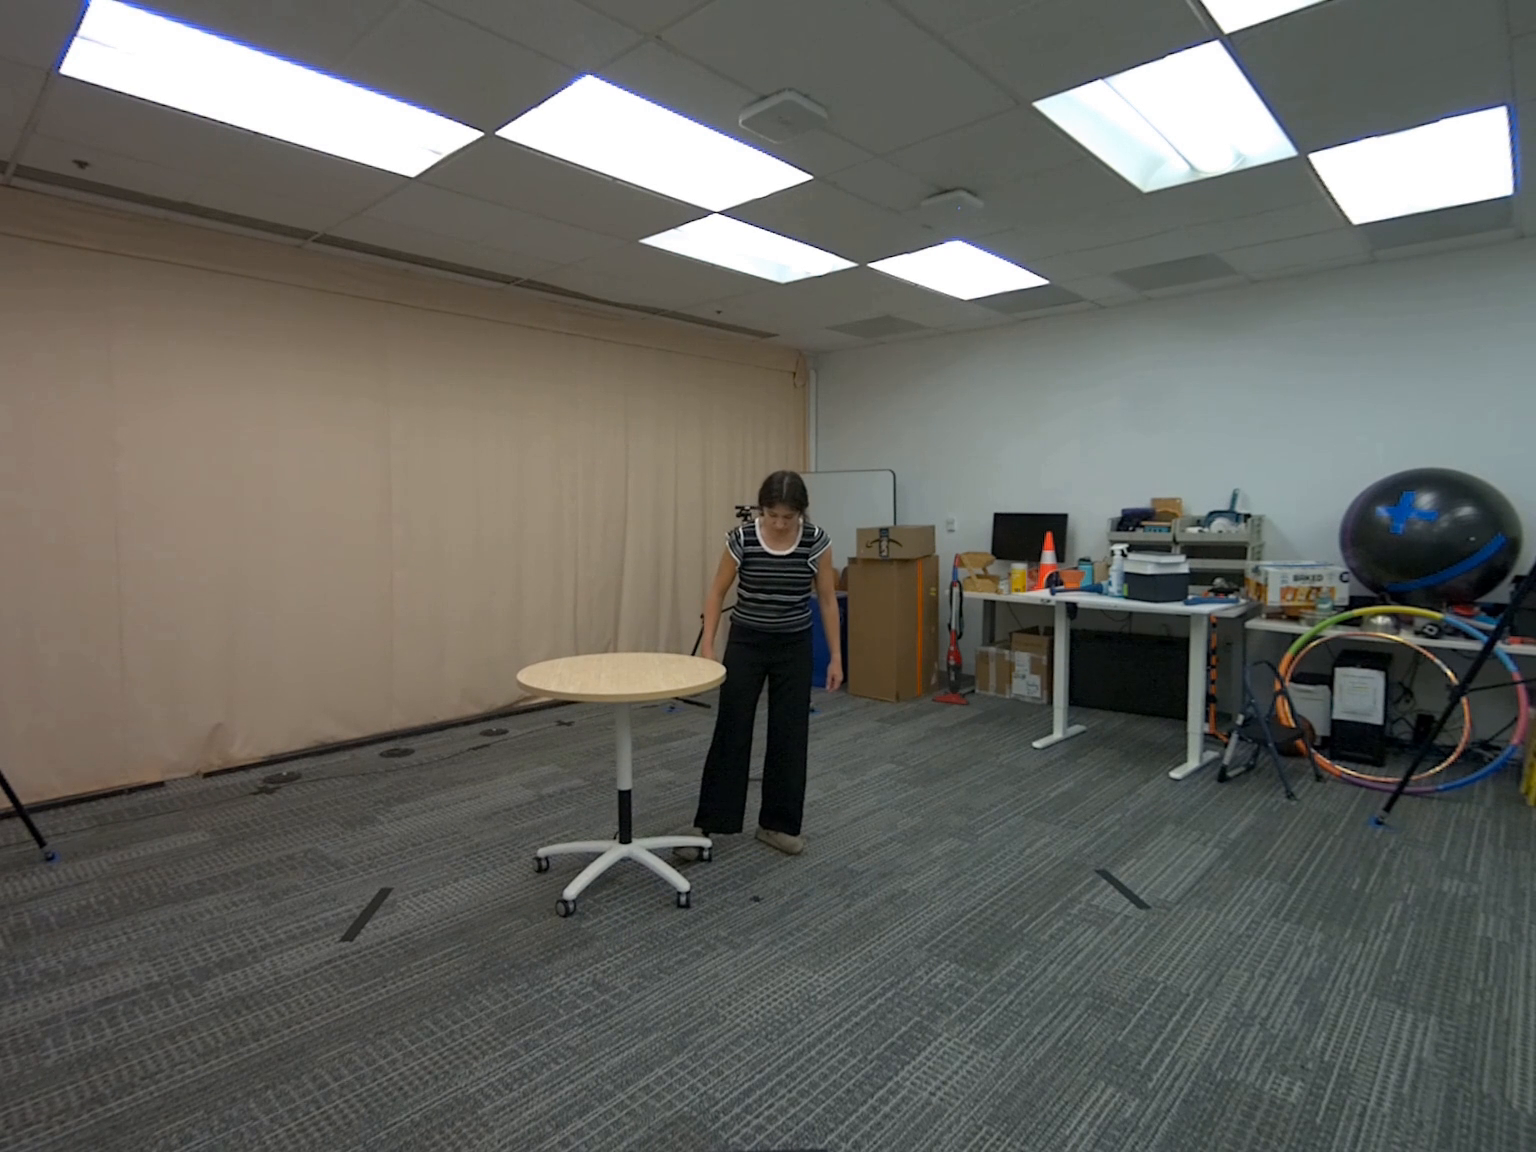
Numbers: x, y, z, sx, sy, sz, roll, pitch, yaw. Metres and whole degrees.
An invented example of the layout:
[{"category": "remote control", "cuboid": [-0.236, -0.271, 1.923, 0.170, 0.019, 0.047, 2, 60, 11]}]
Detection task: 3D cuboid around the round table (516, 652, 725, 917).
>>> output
[{"category": "round table", "cuboid": [-0.548, 0.742, 3.136, 0.784, 0.785, 0.788, -1, 4, -2]}]
